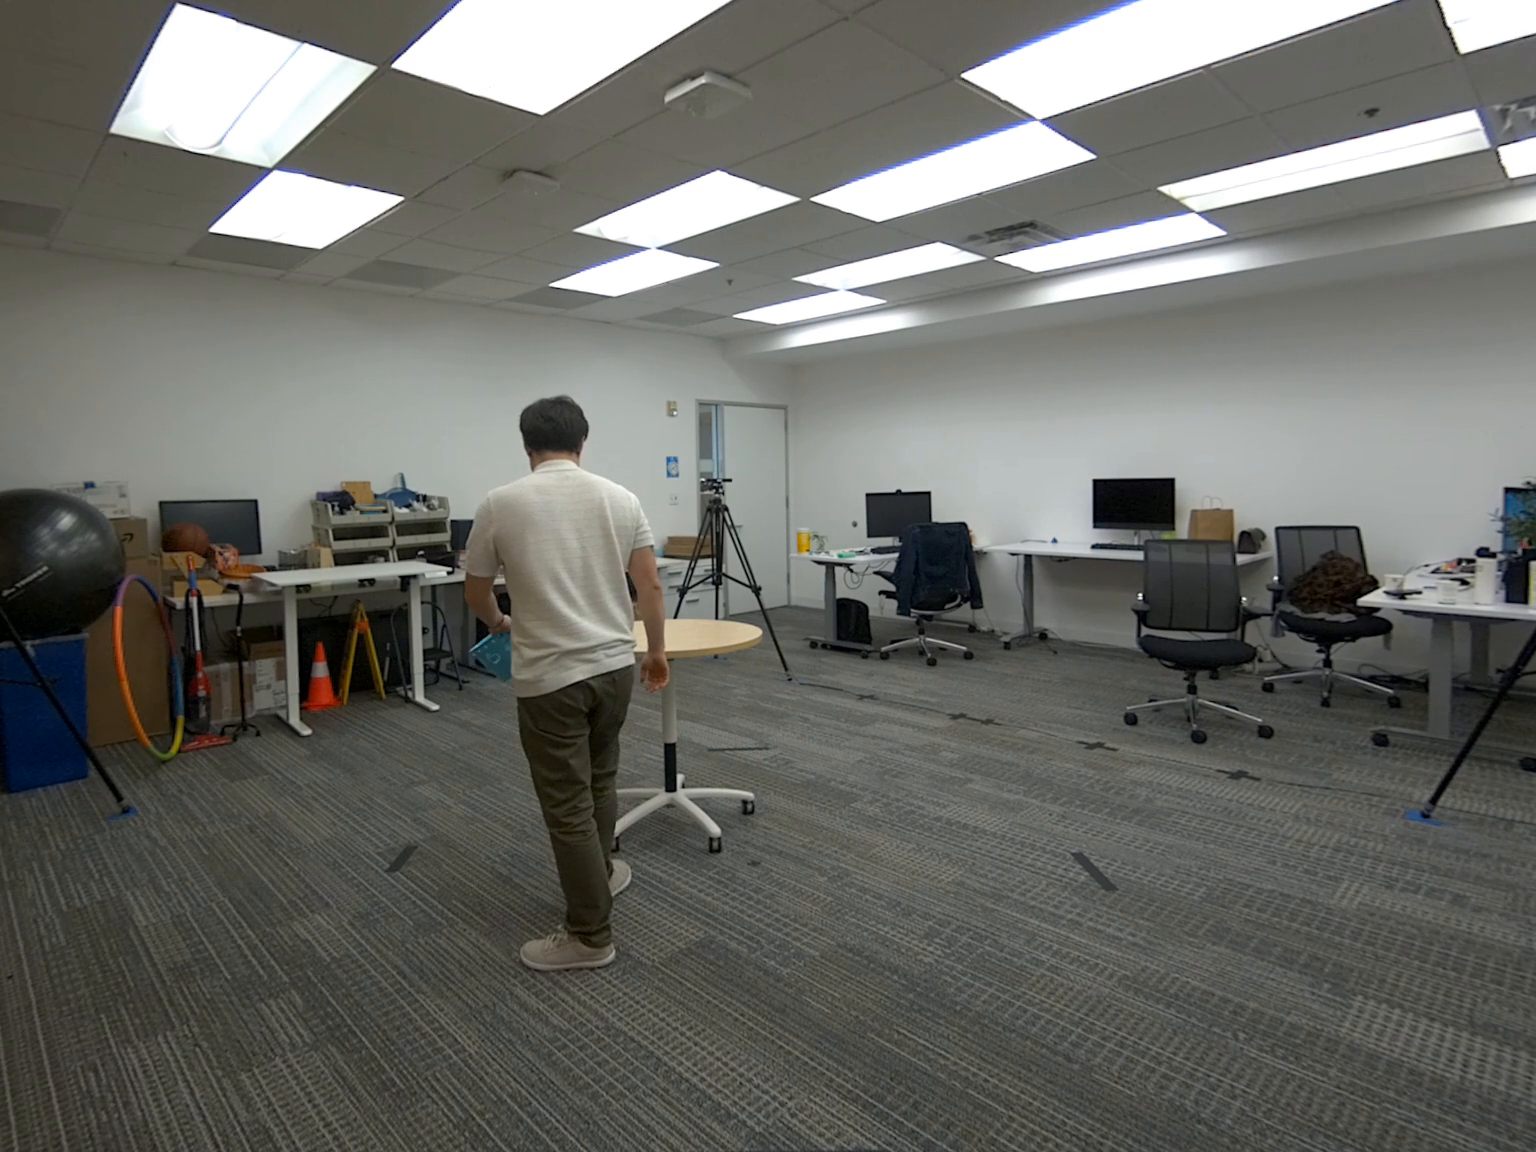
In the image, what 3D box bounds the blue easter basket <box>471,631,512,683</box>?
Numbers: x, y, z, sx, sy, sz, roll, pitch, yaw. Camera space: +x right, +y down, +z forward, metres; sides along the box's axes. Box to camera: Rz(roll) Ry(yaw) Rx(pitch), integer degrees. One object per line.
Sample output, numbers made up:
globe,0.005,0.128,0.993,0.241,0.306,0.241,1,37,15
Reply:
blue easter basket,-0.878,0.250,2.909,0.244,0.154,0.246,-36,9,4
